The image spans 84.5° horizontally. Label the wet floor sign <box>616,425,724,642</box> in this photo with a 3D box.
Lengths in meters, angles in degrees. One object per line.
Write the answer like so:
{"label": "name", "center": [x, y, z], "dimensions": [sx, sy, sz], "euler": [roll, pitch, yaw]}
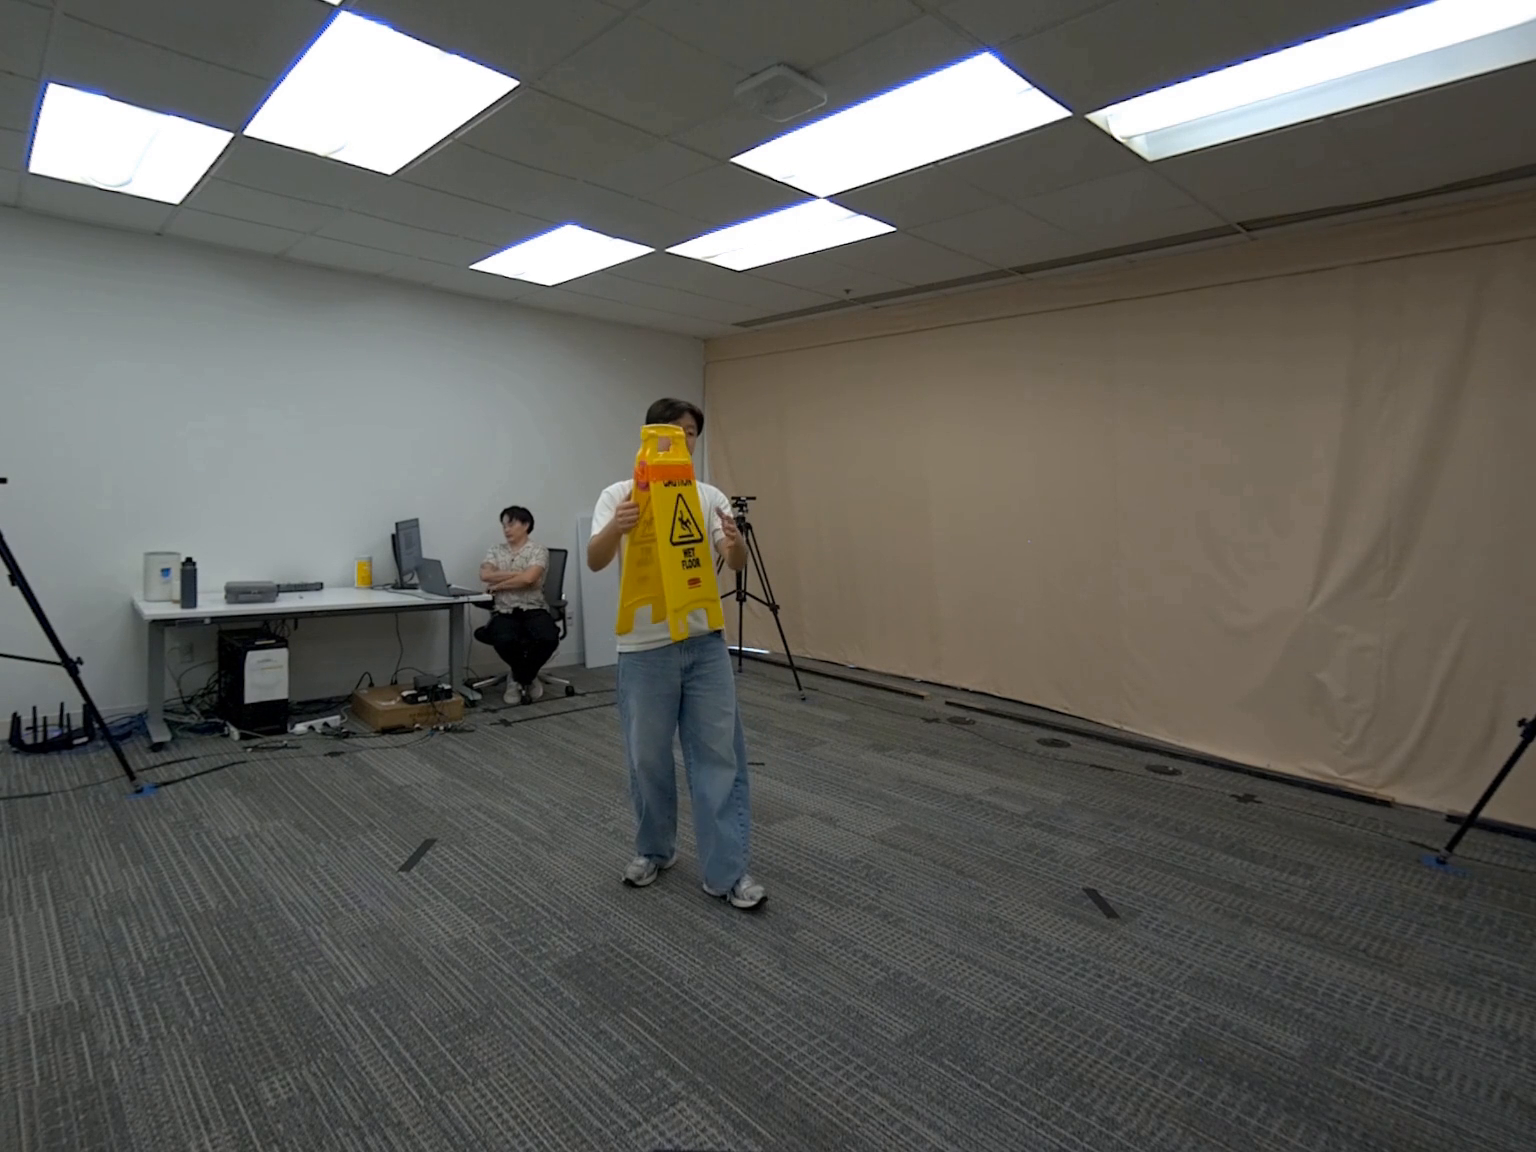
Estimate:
{"label": "wet floor sign", "center": [-0.332, -0.145, 2.656], "dimensions": [0.296, 0.644, 0.277], "euler": [1, 5, 30]}
